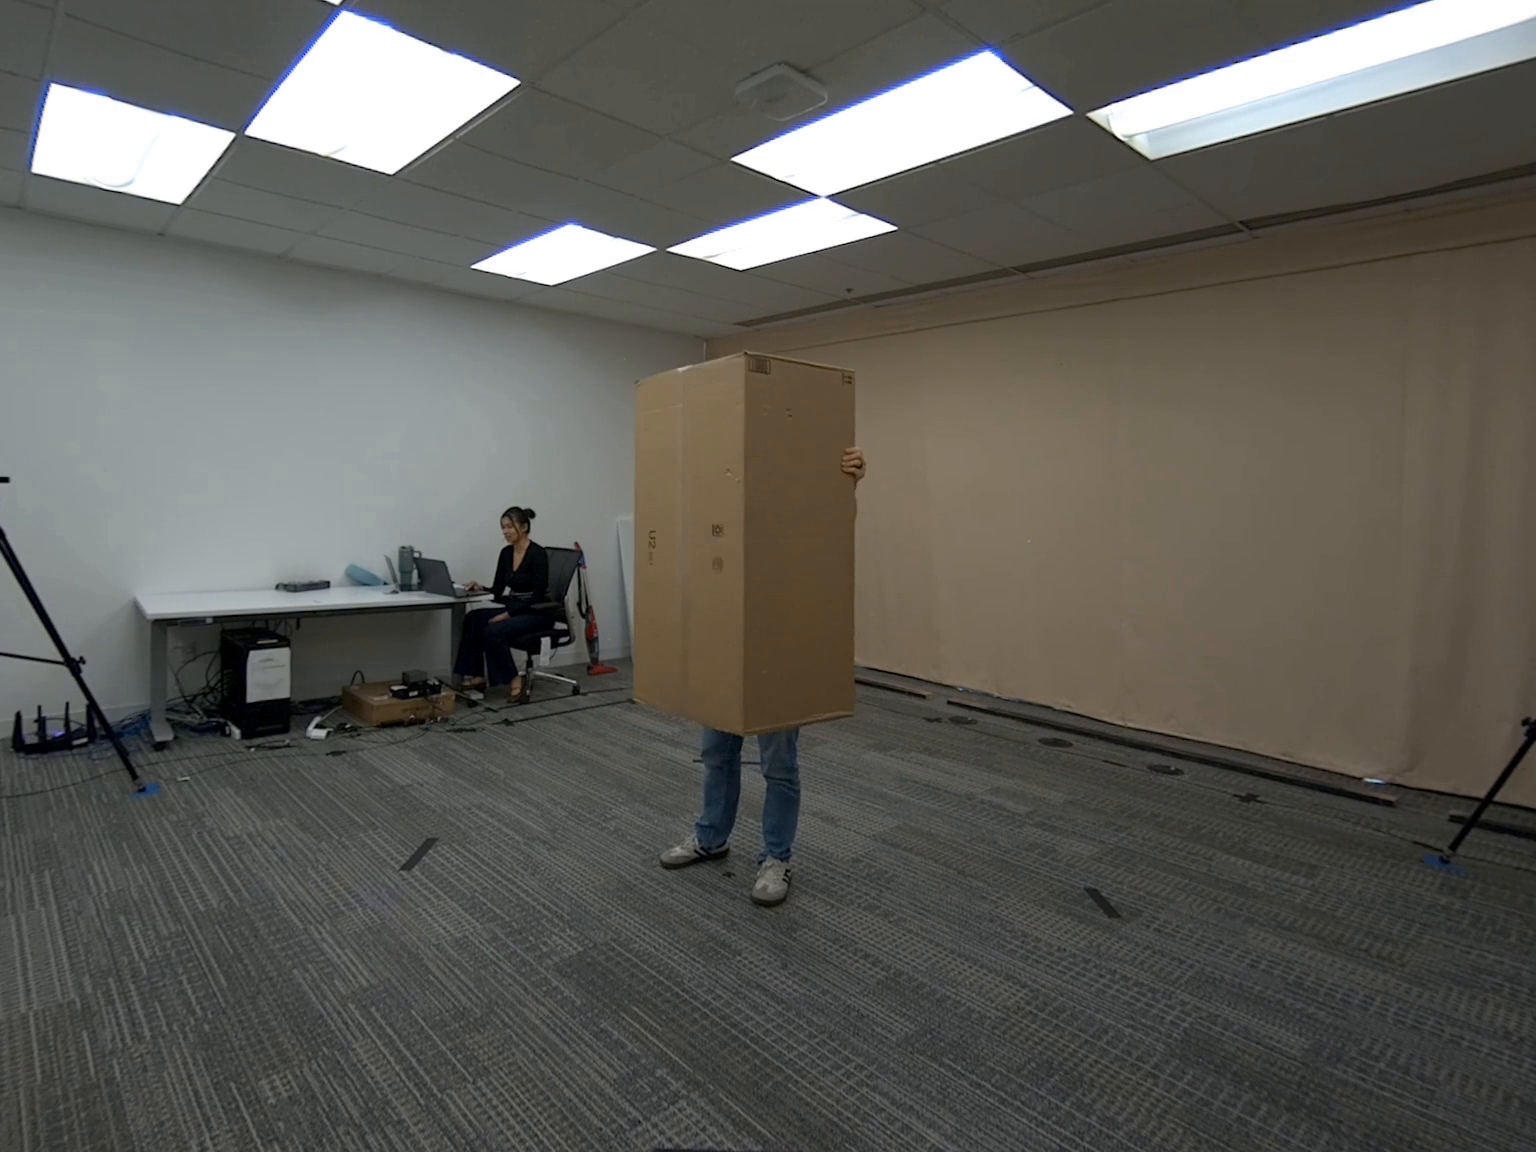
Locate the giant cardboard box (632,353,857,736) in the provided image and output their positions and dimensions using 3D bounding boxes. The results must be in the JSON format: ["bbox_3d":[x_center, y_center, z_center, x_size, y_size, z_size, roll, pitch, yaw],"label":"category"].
[{"bbox_3d":[-0.089,-0.097,2.577,0.416,1.025,0.591,0,1,-39],"label":"giant cardboard box"}]
